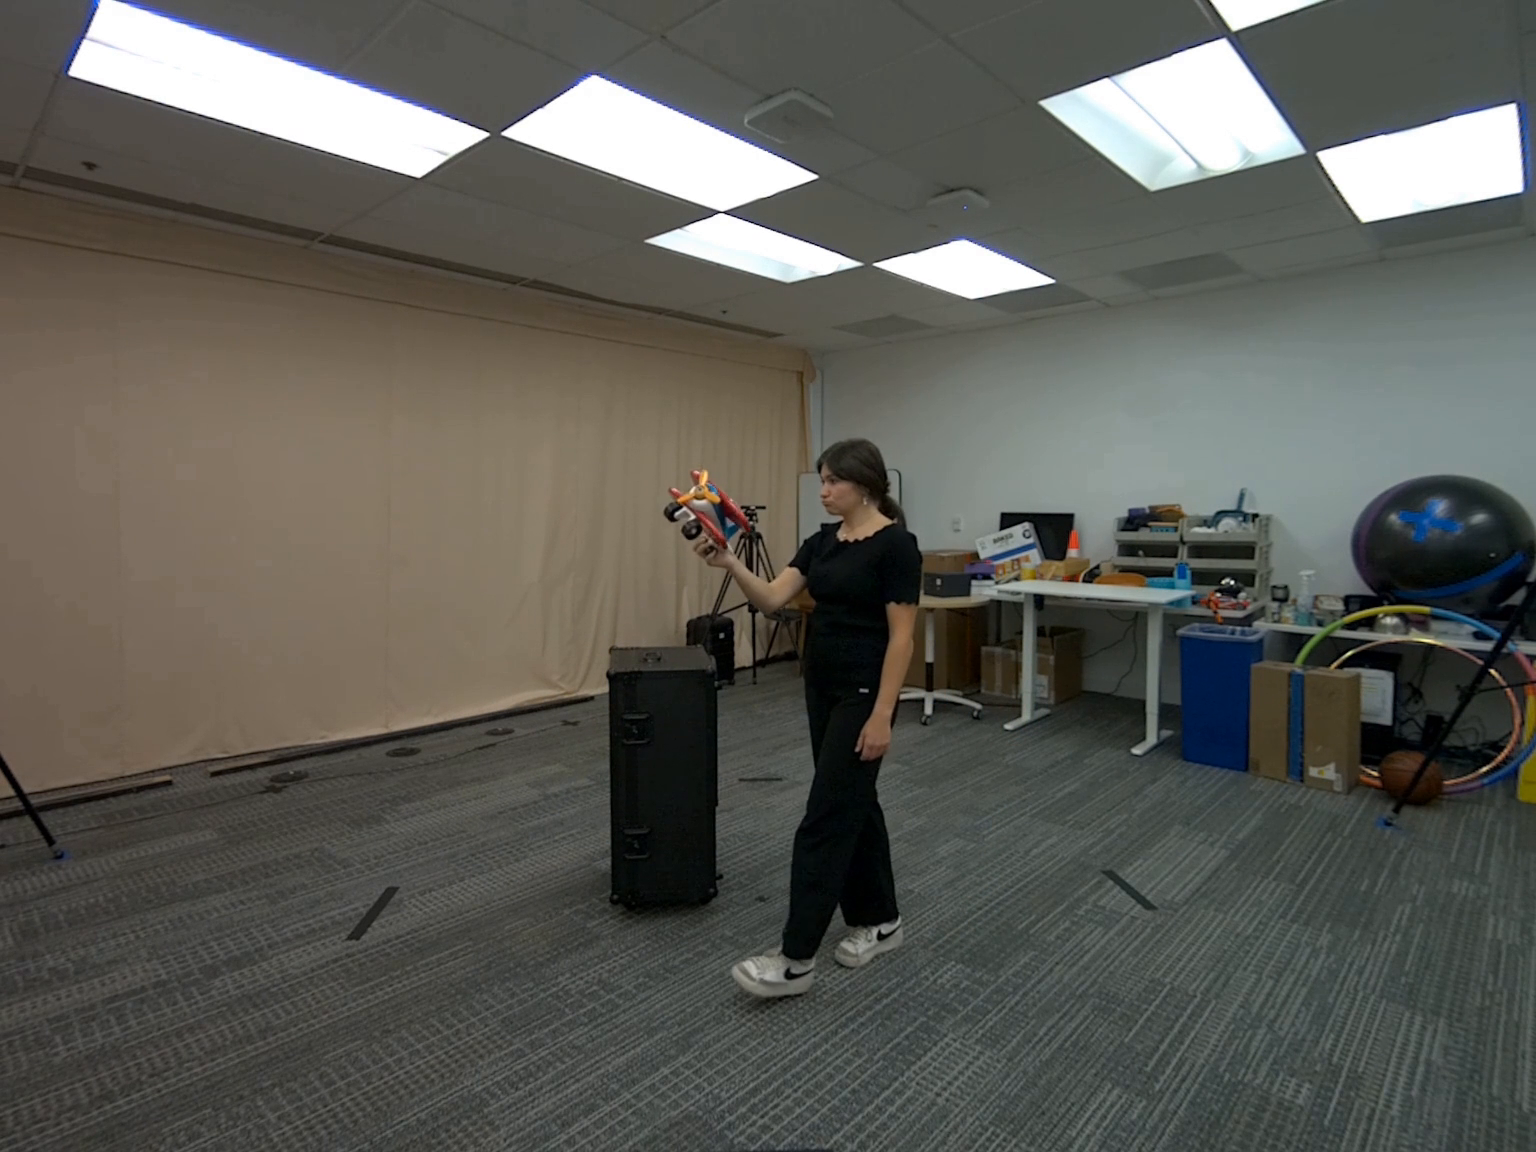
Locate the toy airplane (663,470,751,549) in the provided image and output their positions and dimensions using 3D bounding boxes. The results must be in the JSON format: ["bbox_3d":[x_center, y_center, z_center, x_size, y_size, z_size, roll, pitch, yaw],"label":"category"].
[{"bbox_3d":[-0.177,-0.170,2.327,0.253,0.156,0.257,45,1,4],"label":"toy airplane"}]
